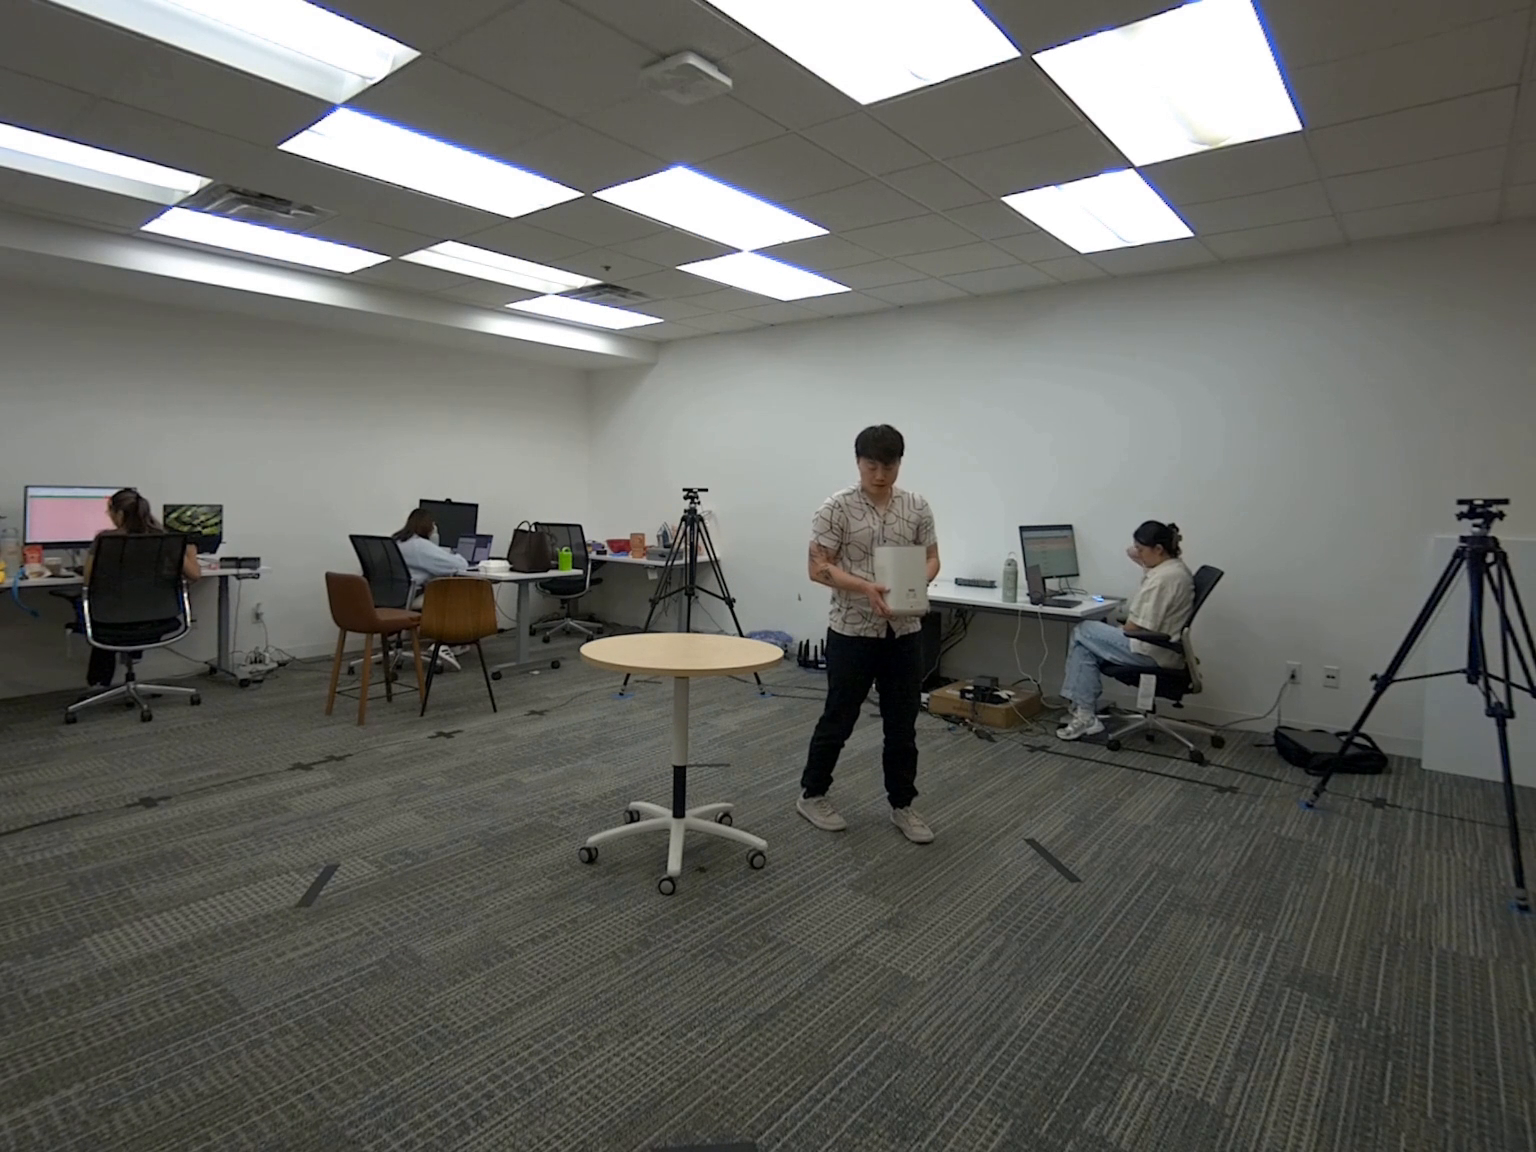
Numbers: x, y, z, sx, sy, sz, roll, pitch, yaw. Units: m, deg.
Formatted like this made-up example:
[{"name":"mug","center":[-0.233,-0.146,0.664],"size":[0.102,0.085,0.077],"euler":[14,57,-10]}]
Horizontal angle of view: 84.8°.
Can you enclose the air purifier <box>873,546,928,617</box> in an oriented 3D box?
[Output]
[{"name":"air purifier","center":[0.499,0.013,3.283],"size":[0.168,0.266,0.174],"euler":[0,-2,-17]}]
